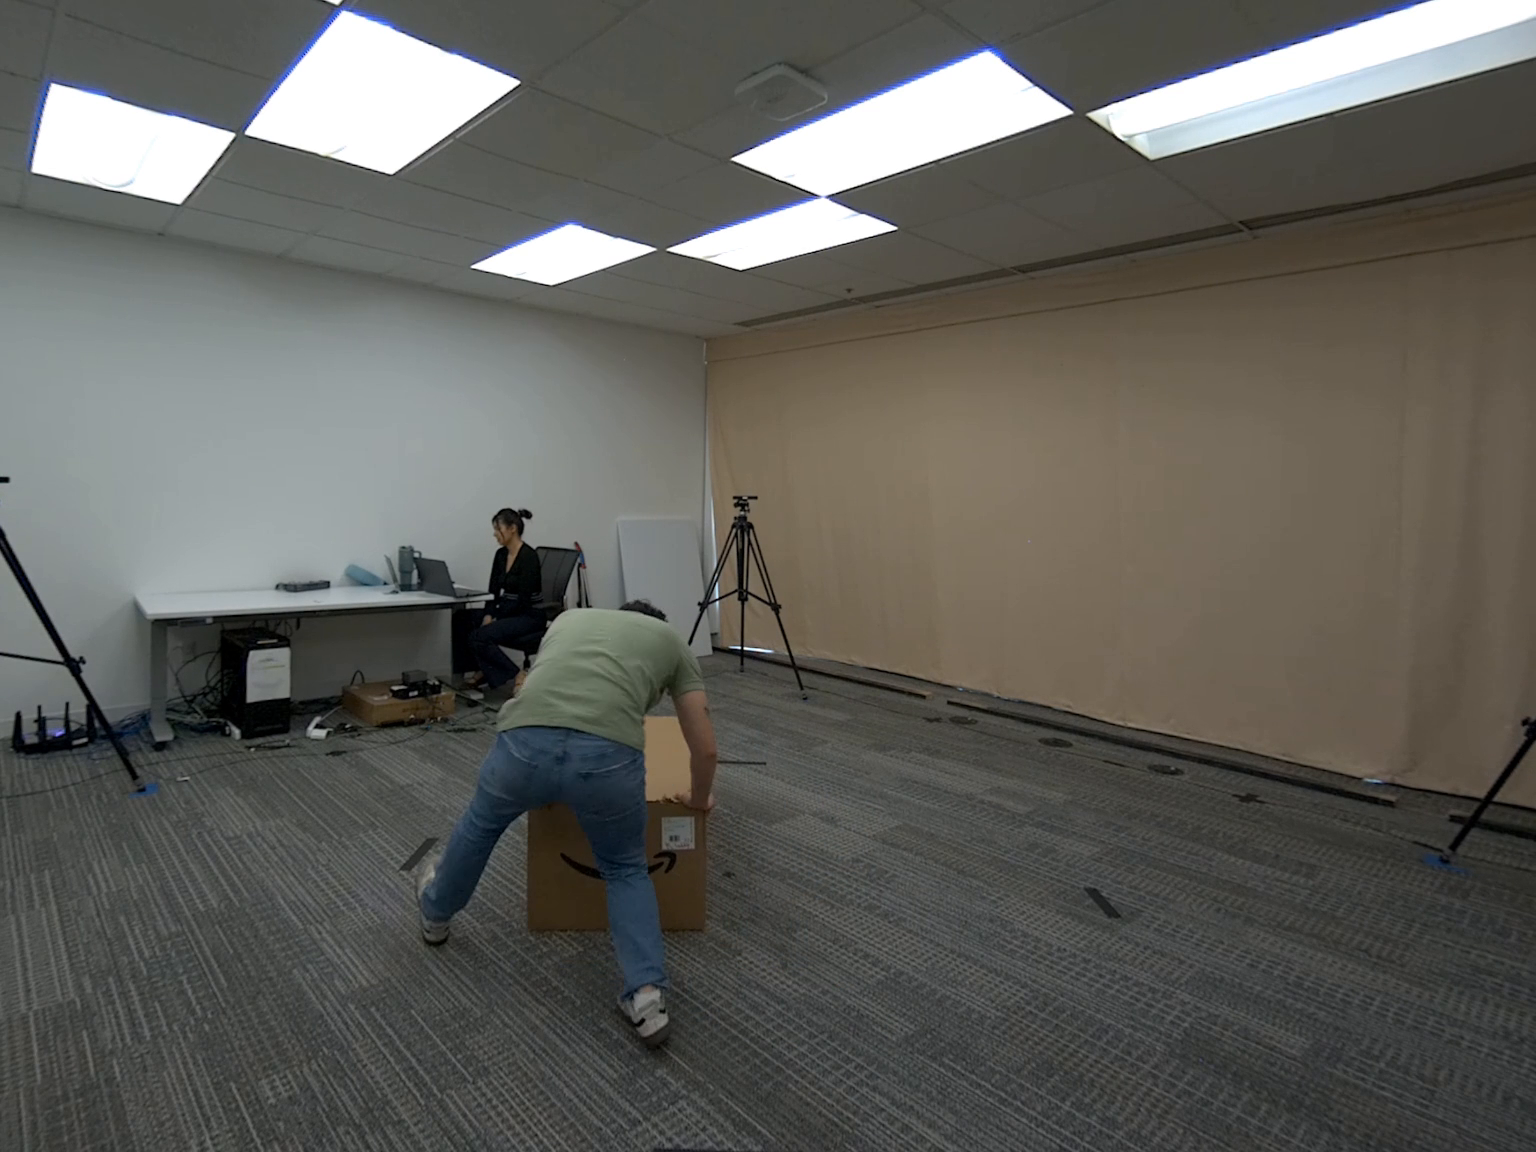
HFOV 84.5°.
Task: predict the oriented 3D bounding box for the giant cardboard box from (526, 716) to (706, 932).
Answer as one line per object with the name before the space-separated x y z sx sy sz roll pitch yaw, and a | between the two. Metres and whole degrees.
giant cardboard box | -0.520 0.887 3.181 0.576 0.425 1.031 0 4 -4
